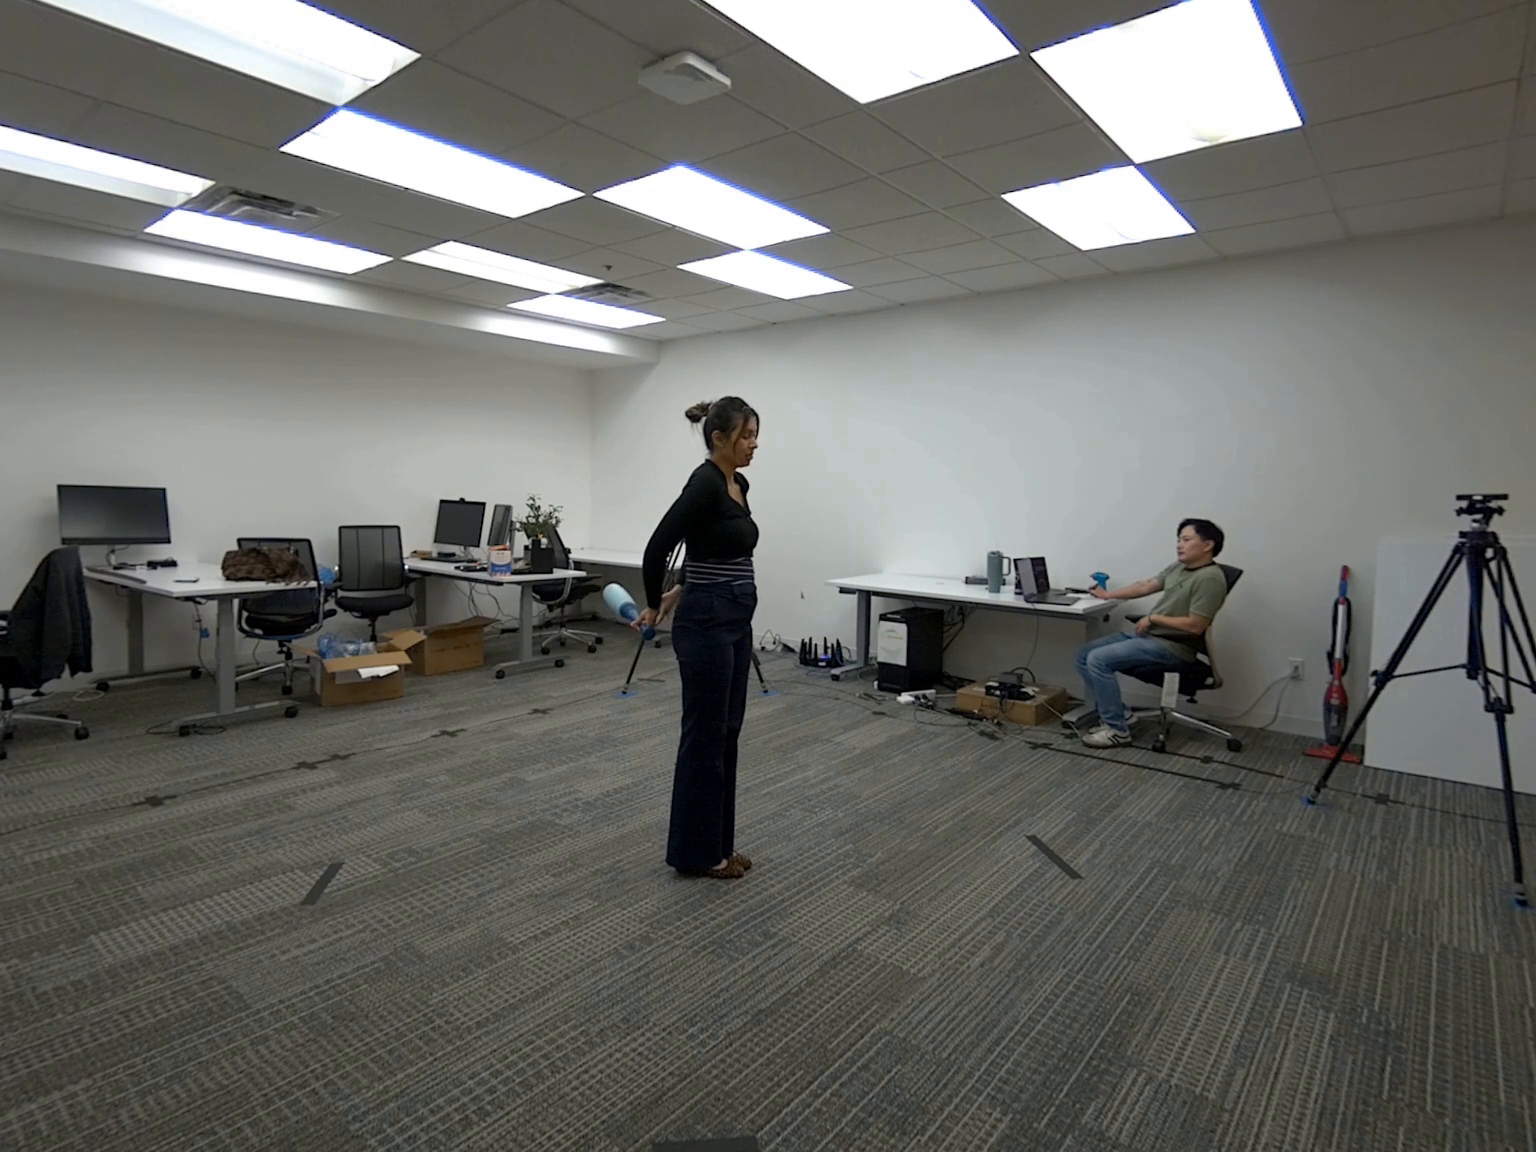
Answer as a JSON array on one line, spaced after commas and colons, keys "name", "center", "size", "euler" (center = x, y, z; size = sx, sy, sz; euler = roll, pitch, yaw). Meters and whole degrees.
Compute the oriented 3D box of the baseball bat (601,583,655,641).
[{"name": "baseball bat", "center": [-0.546, 0.141, 3.244], "size": [0.087, 0.088, 0.560], "euler": [-1, 15, -21]}]
